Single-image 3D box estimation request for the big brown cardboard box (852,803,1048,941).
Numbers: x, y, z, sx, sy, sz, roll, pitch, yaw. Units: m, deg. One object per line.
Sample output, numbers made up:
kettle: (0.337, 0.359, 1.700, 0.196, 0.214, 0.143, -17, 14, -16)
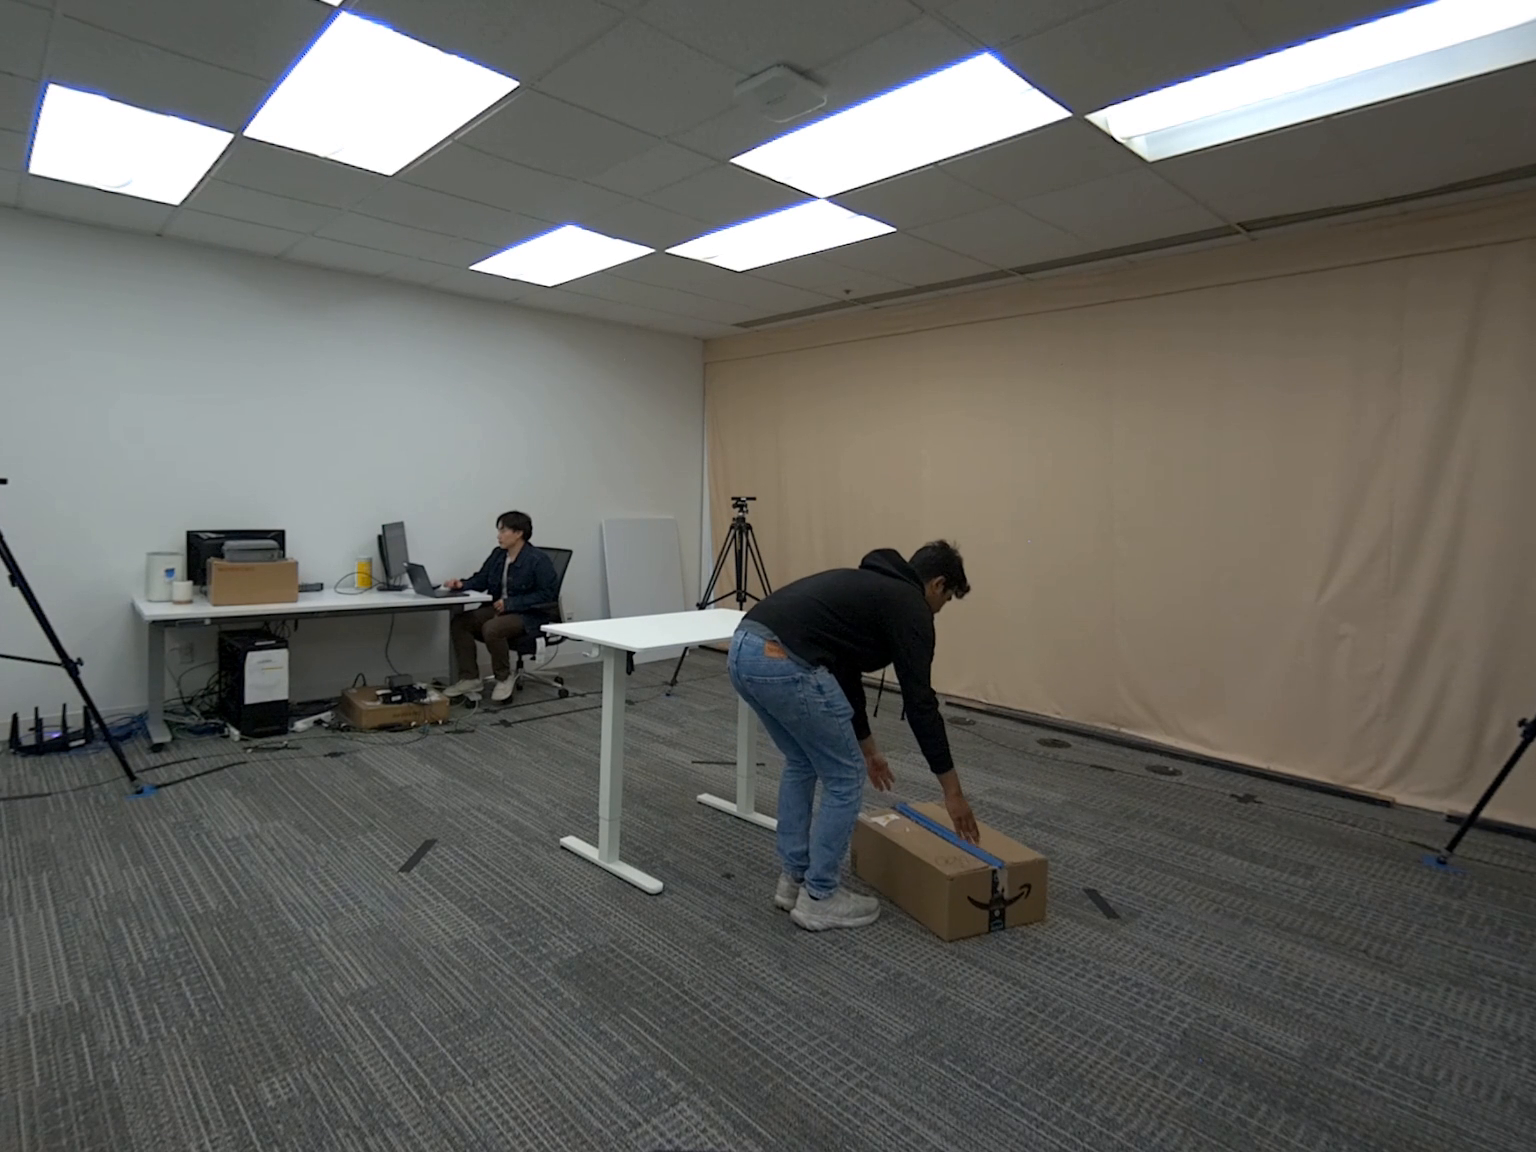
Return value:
big brown cardboard box: (0.617, 1.021, 3.004, 0.410, 0.232, 0.602, 0, 6, -26)
